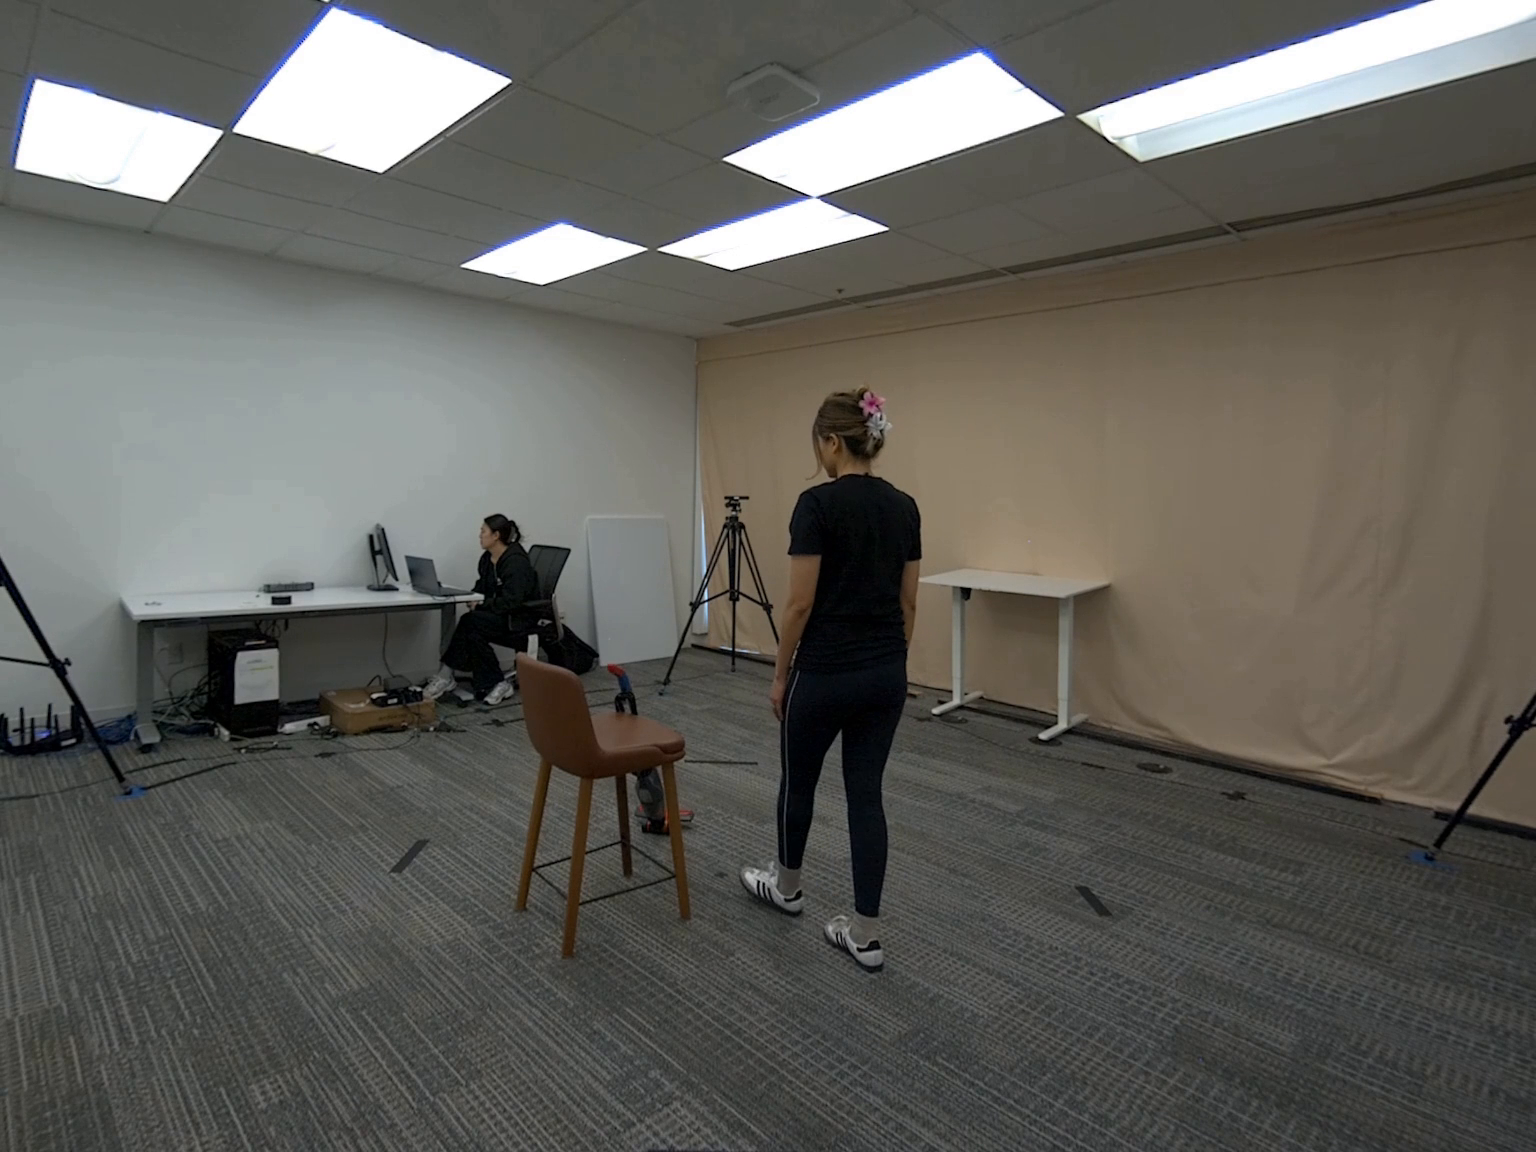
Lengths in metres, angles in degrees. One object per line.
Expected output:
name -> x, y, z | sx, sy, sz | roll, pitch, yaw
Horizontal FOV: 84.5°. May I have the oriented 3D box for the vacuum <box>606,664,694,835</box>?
vacuum -> -0.493, 0.676, 3.188 | 0.255, 1.023, 0.146 | 4, 45, 11
